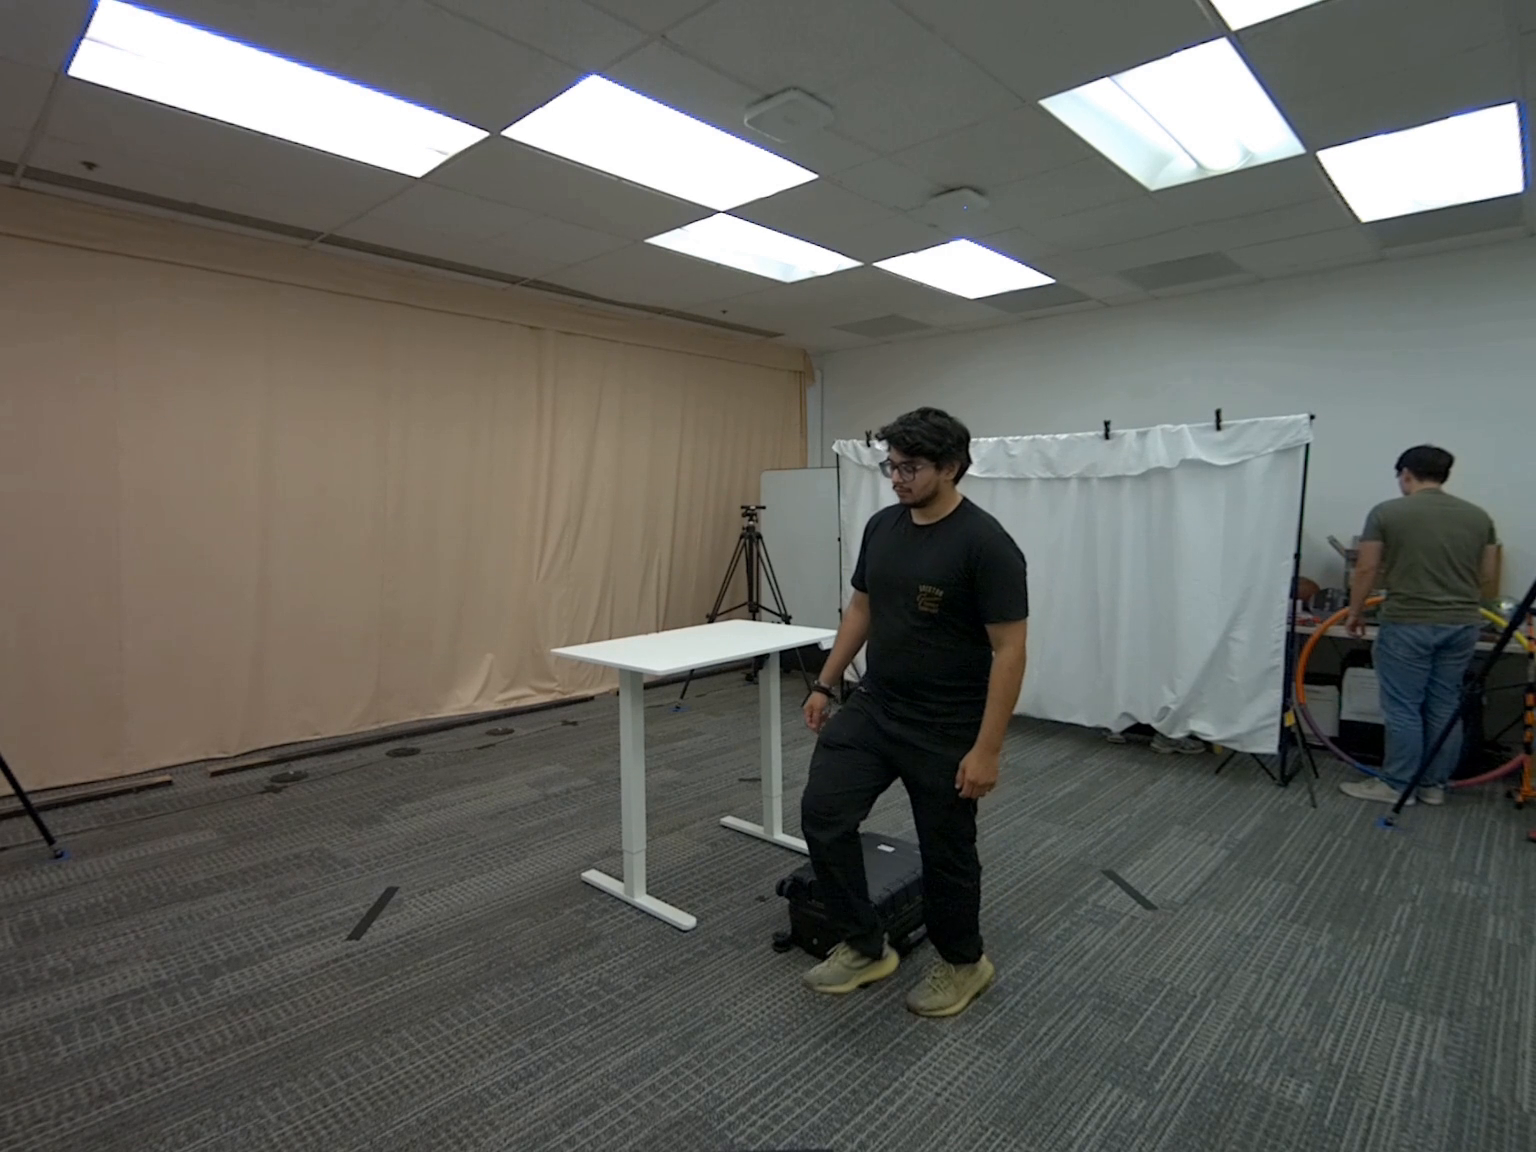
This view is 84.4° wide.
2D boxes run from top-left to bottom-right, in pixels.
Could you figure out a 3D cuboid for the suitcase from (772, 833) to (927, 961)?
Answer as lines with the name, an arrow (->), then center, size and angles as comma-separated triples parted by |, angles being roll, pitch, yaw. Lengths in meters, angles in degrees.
suitcase -> 0.452, 1.027, 2.876 | 0.396, 0.256, 0.950 | 2, 6, 38
